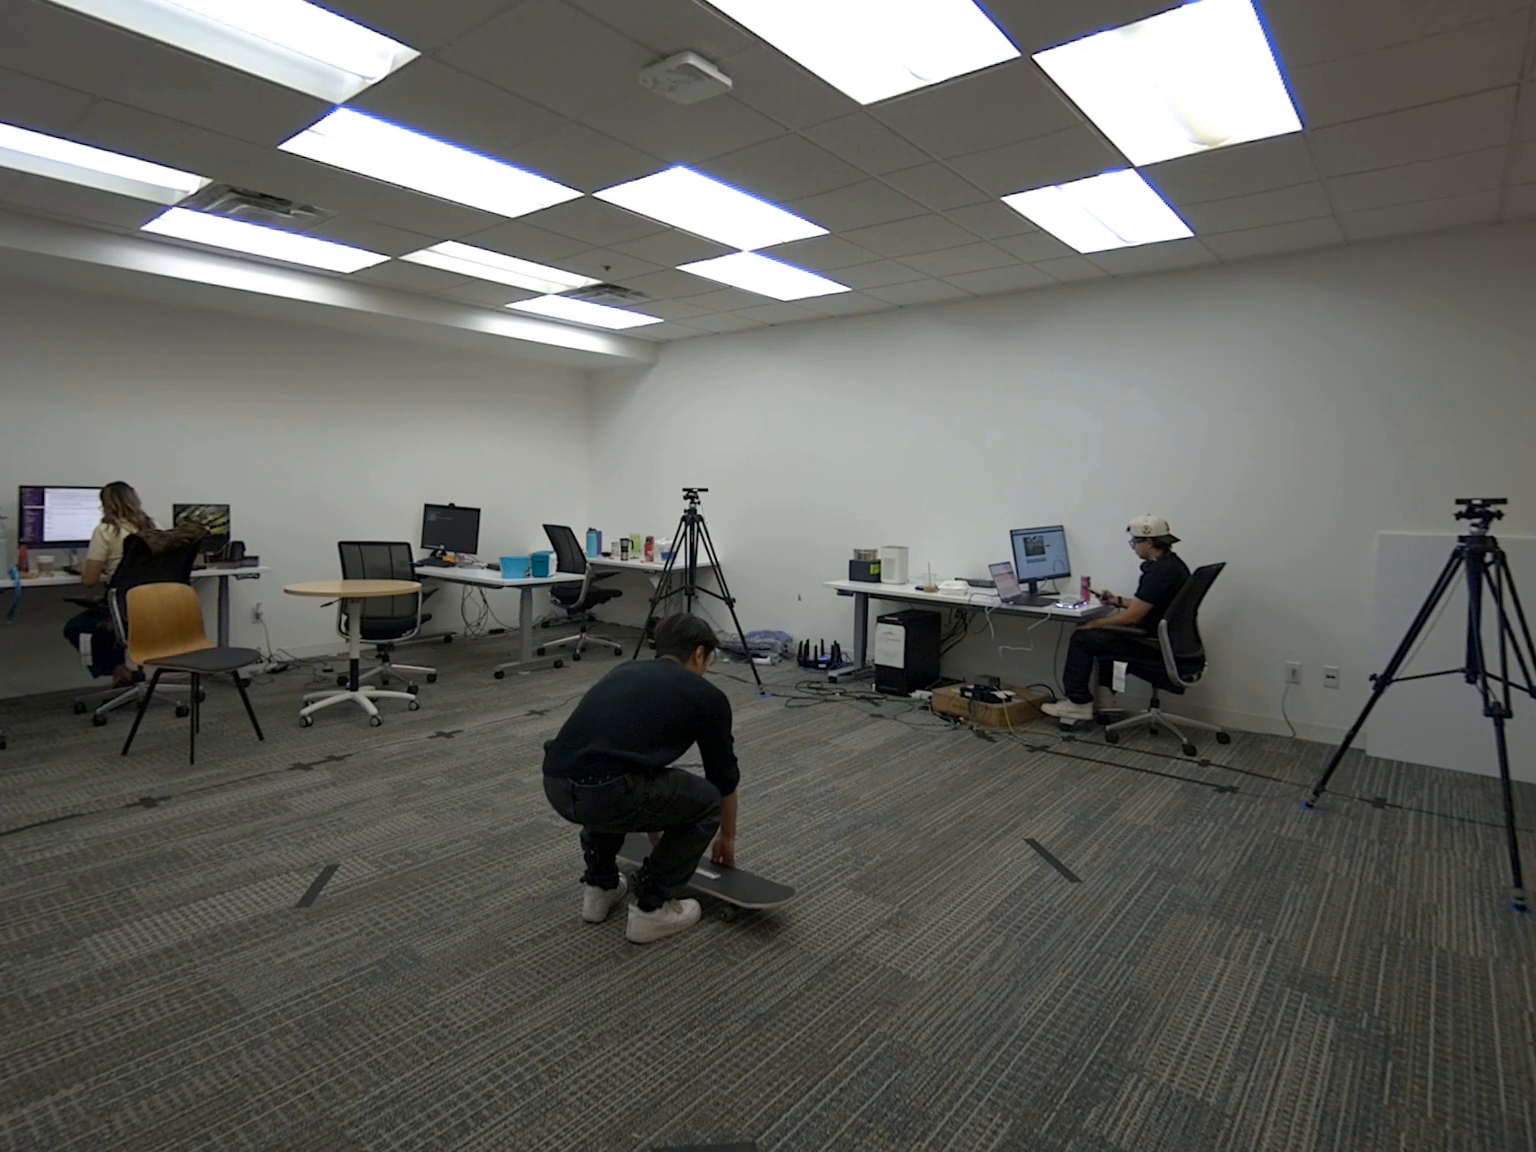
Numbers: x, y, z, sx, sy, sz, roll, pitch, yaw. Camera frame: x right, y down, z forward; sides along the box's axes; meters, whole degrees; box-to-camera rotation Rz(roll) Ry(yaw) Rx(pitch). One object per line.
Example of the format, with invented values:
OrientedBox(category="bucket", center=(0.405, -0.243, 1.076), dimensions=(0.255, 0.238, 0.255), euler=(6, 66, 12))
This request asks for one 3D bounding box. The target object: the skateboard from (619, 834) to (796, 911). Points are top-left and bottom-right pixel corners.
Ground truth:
OrientedBox(category="skateboard", center=(-0.261, 1.024, 2.914), dimensions=(0.811, 0.110, 0.188), euler=(5, 5, 37))
